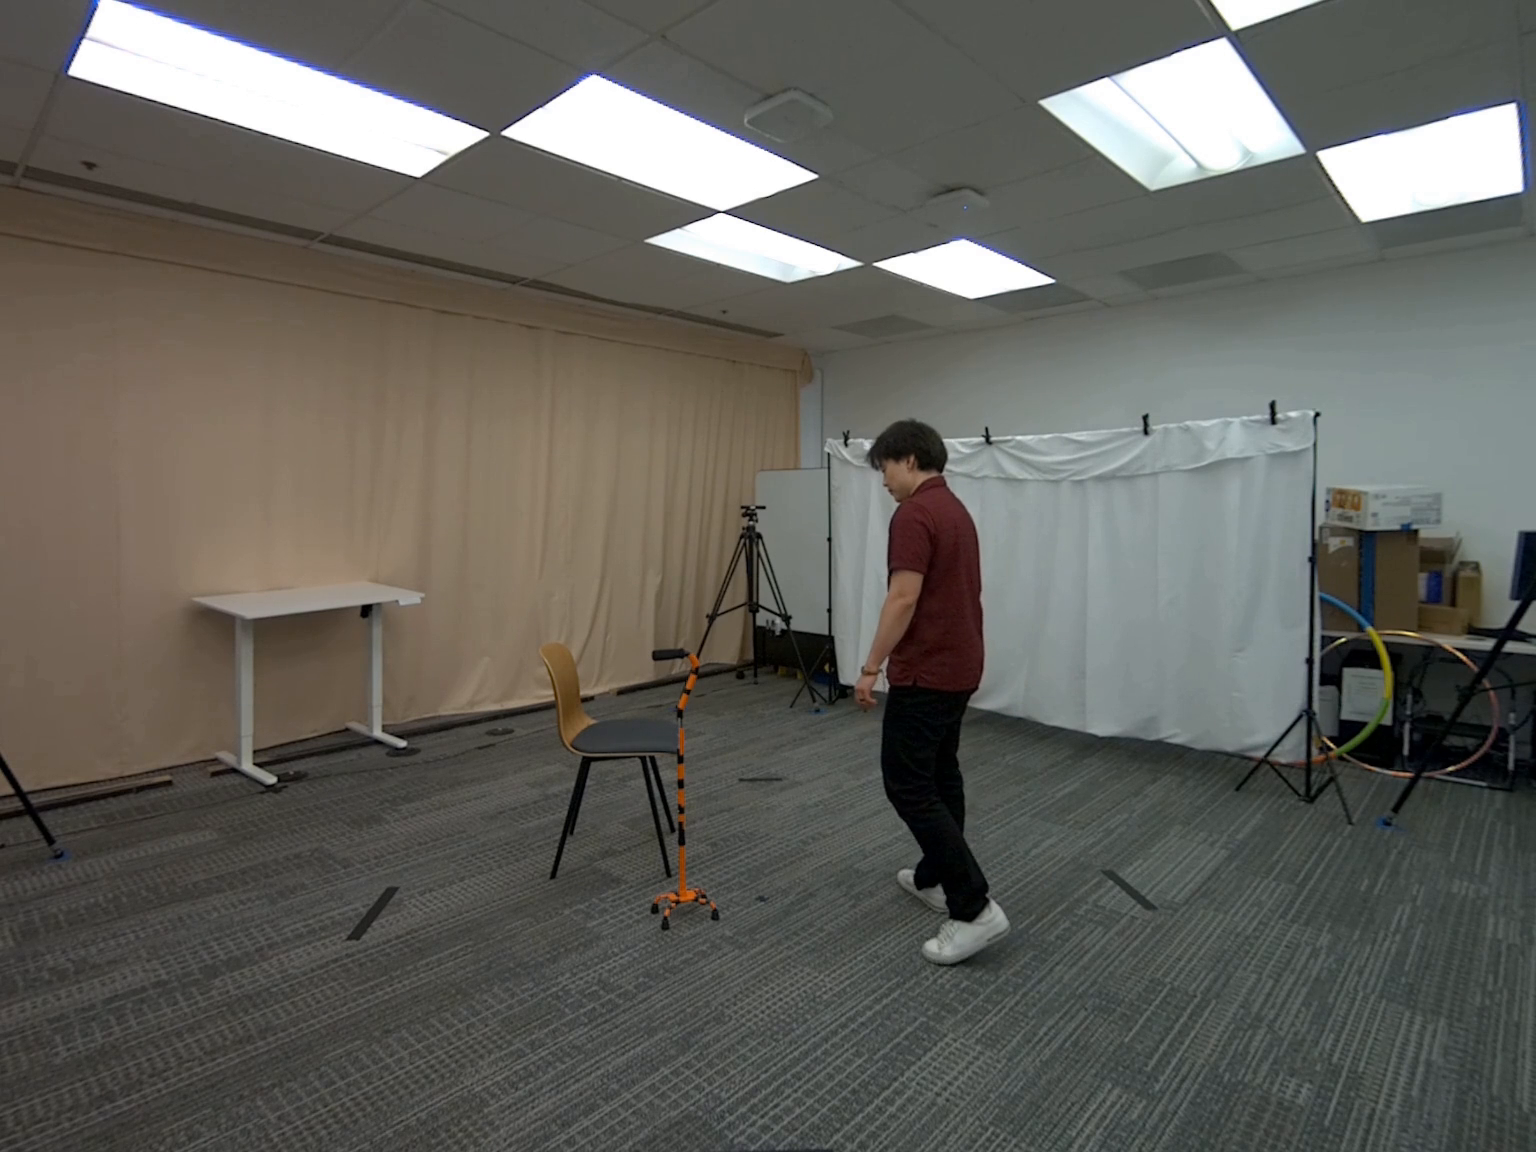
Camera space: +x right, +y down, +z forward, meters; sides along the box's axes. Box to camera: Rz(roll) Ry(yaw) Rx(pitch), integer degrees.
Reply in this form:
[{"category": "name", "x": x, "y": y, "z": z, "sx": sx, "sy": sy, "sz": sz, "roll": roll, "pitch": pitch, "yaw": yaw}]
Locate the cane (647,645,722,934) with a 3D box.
[{"category": "cane", "x": -0.283, "y": 0.702, "z": 2.847, "sx": 0.202, "sy": 0.906, "sz": 0.155, "roll": -1, "pitch": 2, "yaw": -24}]
